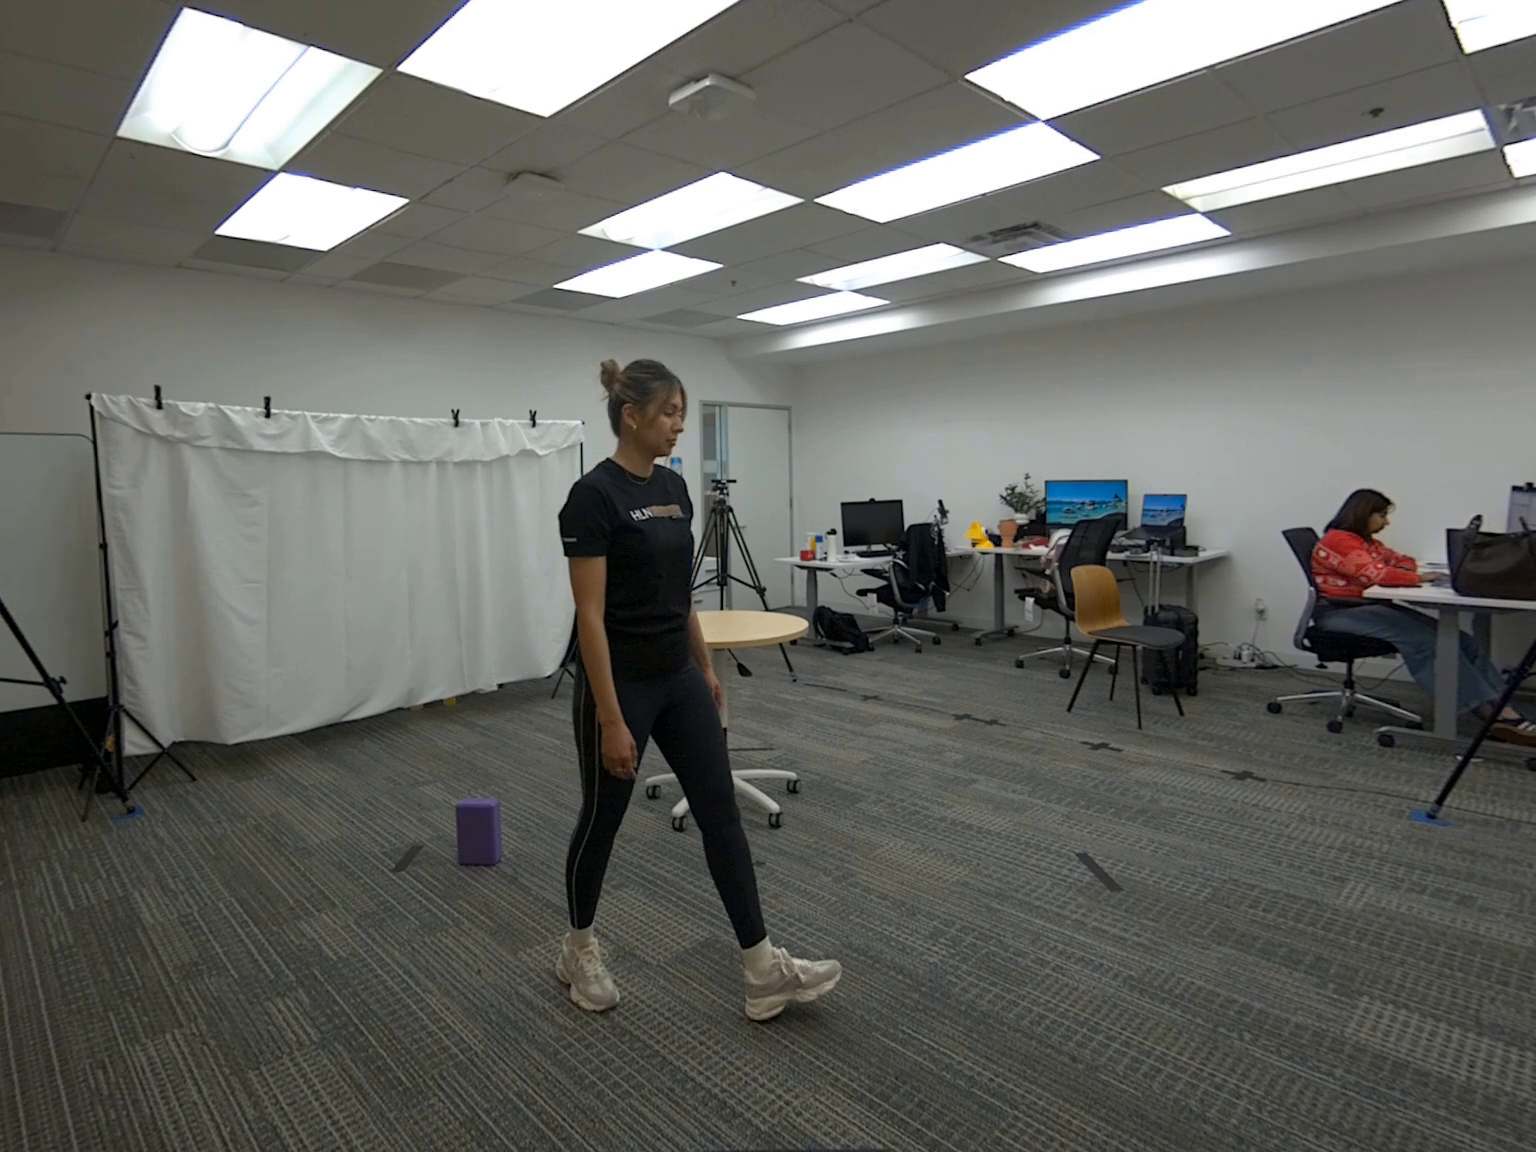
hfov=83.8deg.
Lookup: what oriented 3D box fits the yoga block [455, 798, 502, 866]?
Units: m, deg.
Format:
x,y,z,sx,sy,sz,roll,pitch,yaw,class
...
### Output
x,y,z,sx,sy,sz,roll,pitch,yaw,class
-1.070,0.947,3.168,0.150,0.228,0.076,-2,5,7,yoga block
